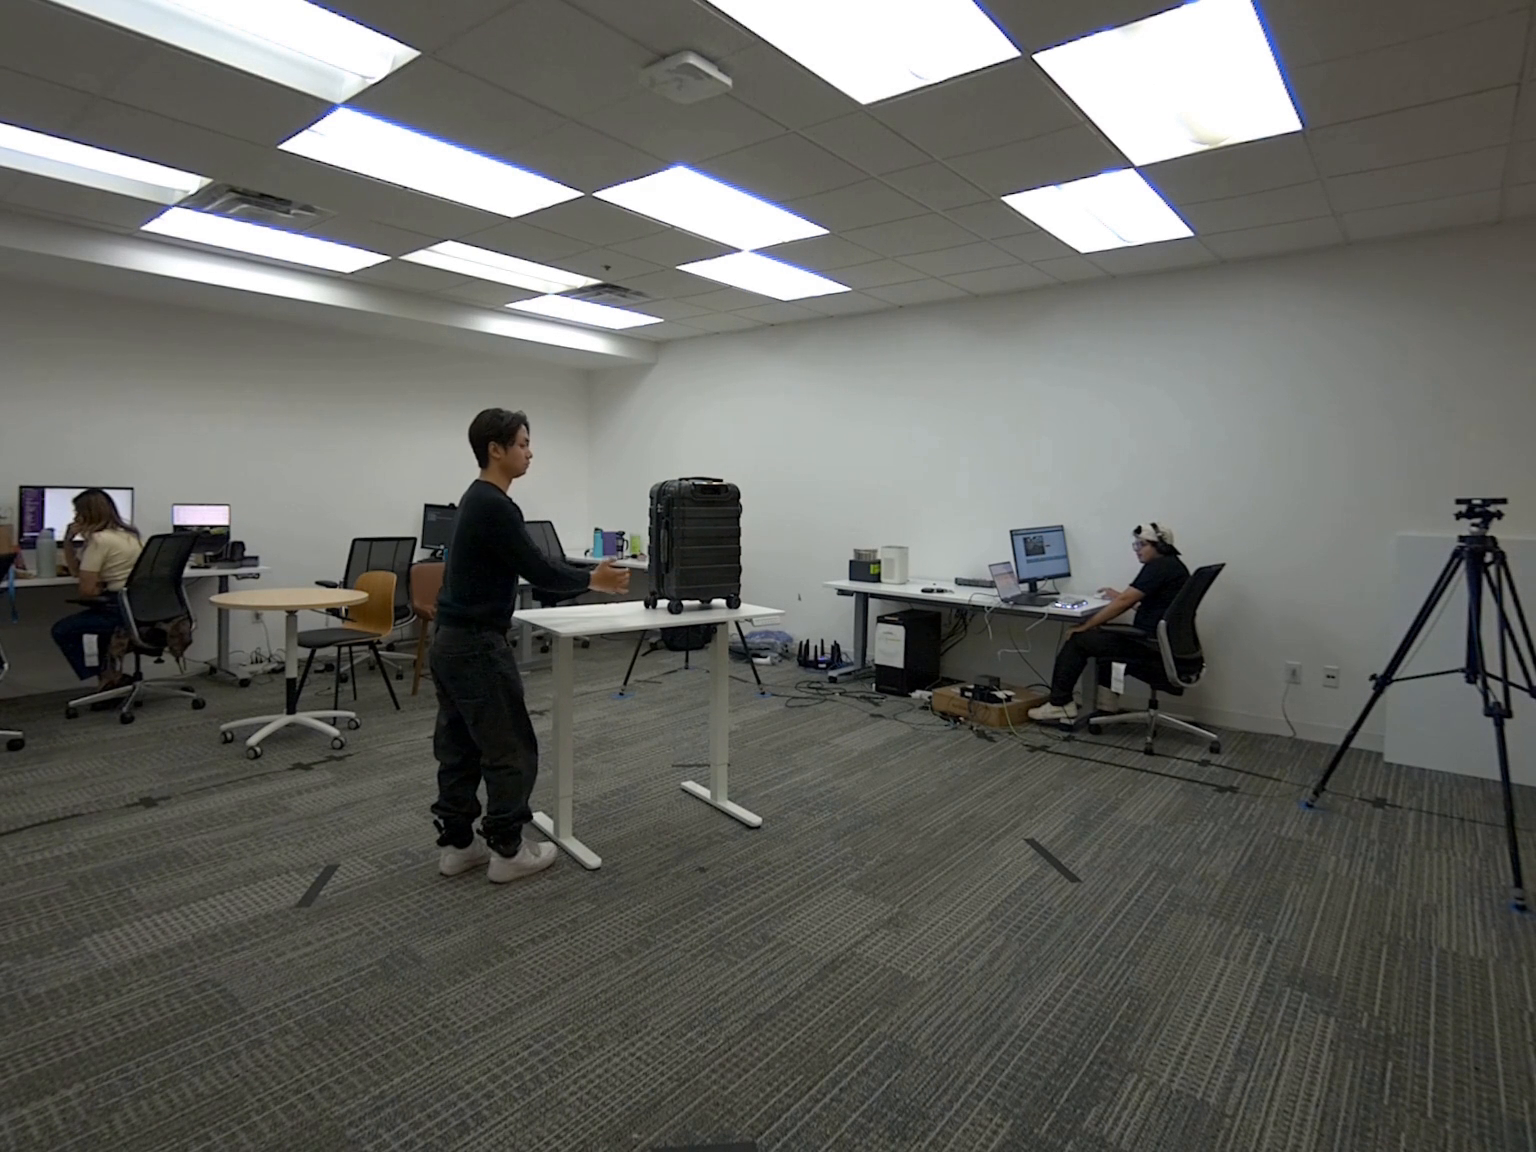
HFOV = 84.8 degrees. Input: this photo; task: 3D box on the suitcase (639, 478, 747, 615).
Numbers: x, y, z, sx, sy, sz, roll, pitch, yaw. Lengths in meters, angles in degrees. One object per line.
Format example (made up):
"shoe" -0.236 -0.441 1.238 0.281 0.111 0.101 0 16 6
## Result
"suitcase" -0.321 -0.142 3.597 0.364 0.548 0.256 -3 4 -37
